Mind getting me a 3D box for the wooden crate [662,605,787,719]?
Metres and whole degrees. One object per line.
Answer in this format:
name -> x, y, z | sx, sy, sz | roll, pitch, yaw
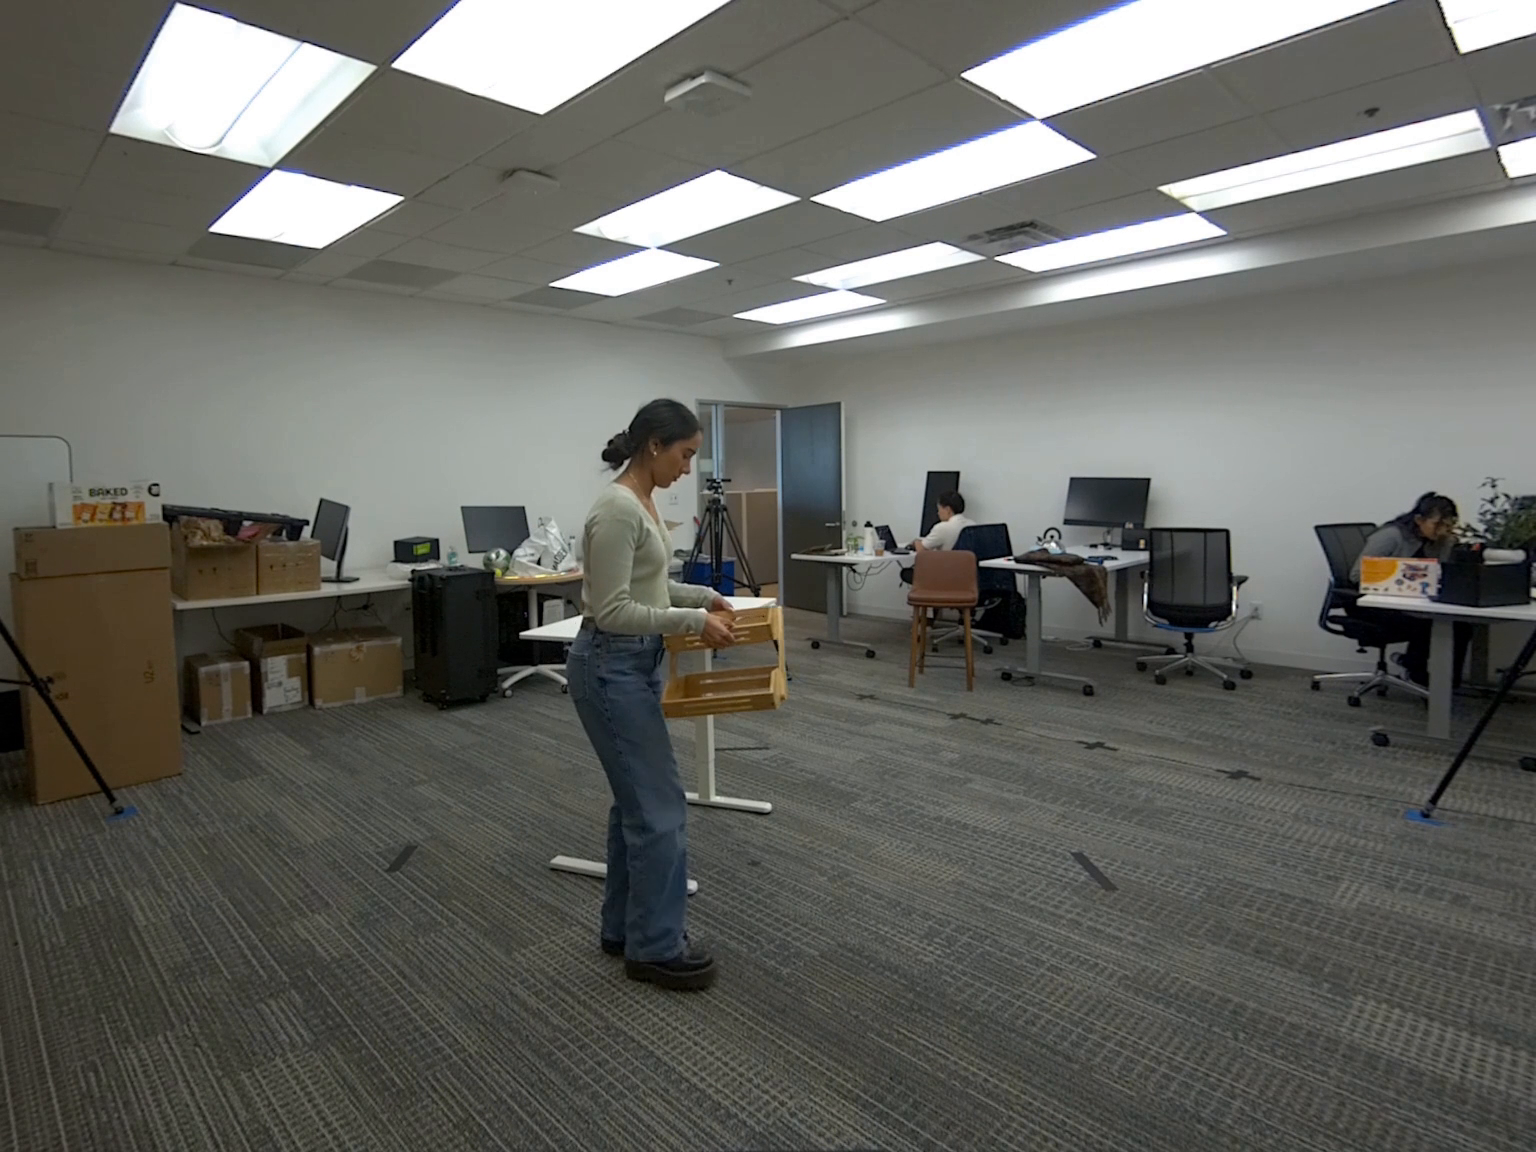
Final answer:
wooden crate -> -0.118, 0.219, 2.354 | 0.327, 0.275, 0.298 | -7, -5, 9
